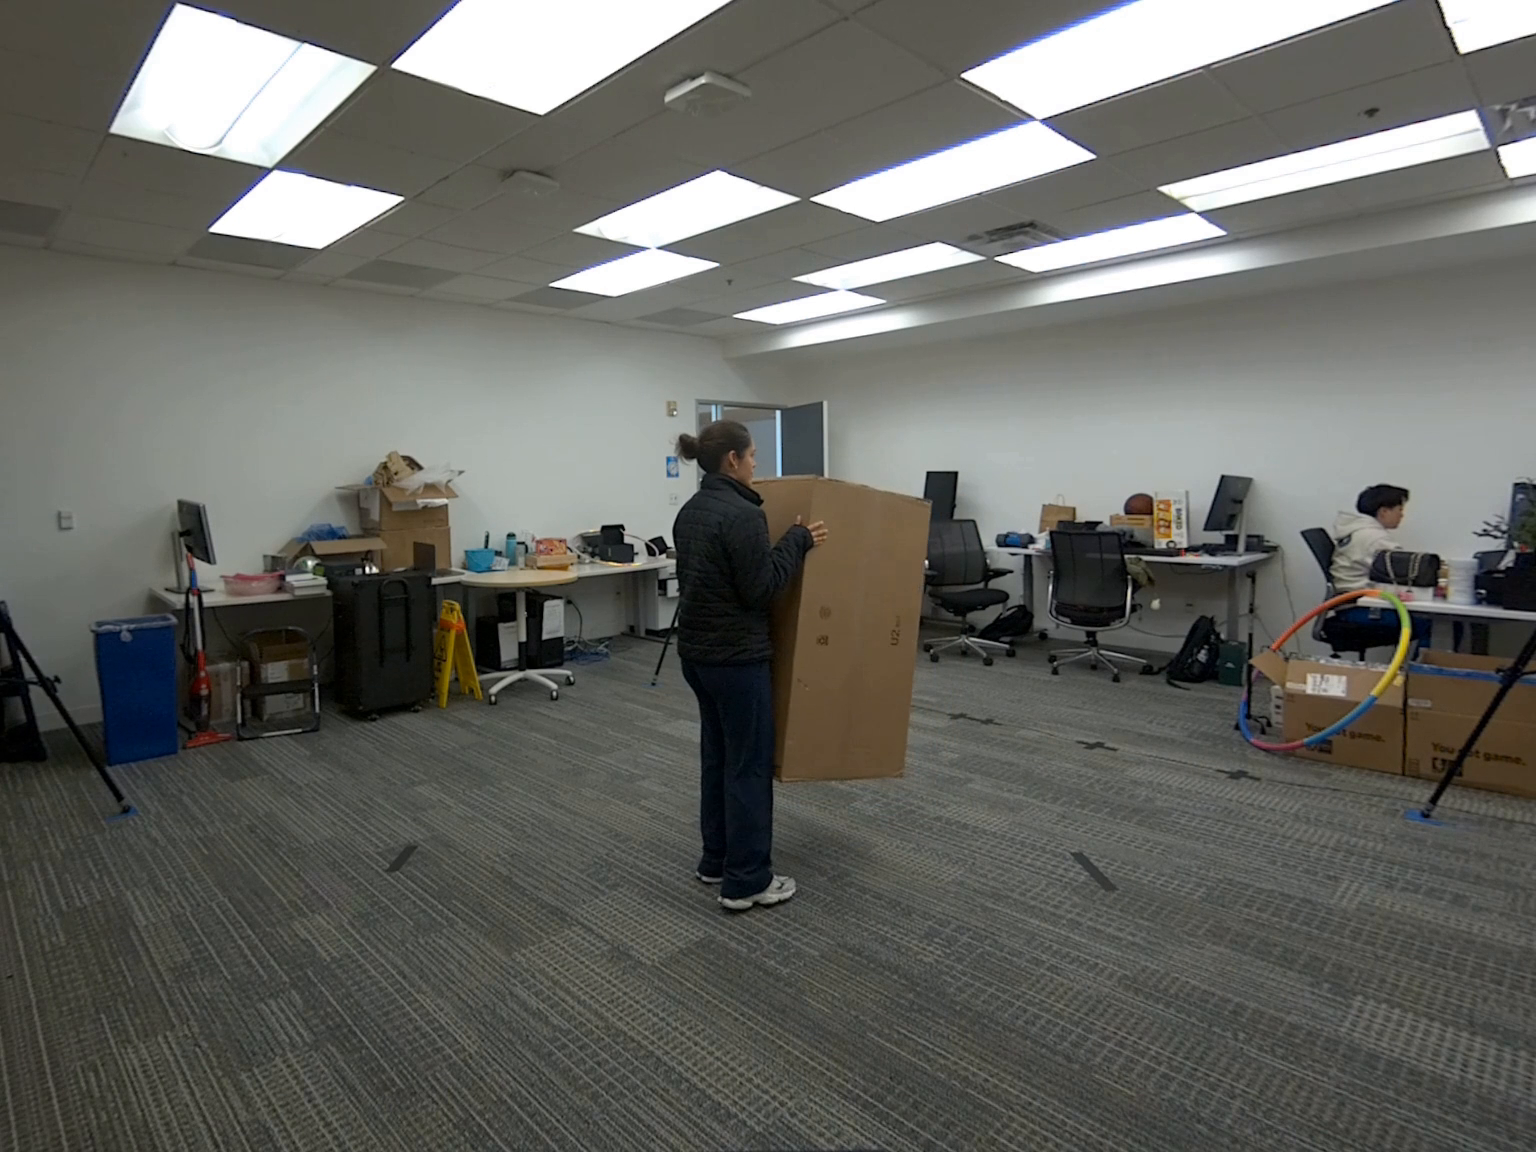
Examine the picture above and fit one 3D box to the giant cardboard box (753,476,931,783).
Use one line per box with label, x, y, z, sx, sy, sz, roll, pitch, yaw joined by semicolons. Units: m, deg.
giant cardboard box;0.202;0.186;3.168;0.560;1.028;0.438;8;-3;-35
